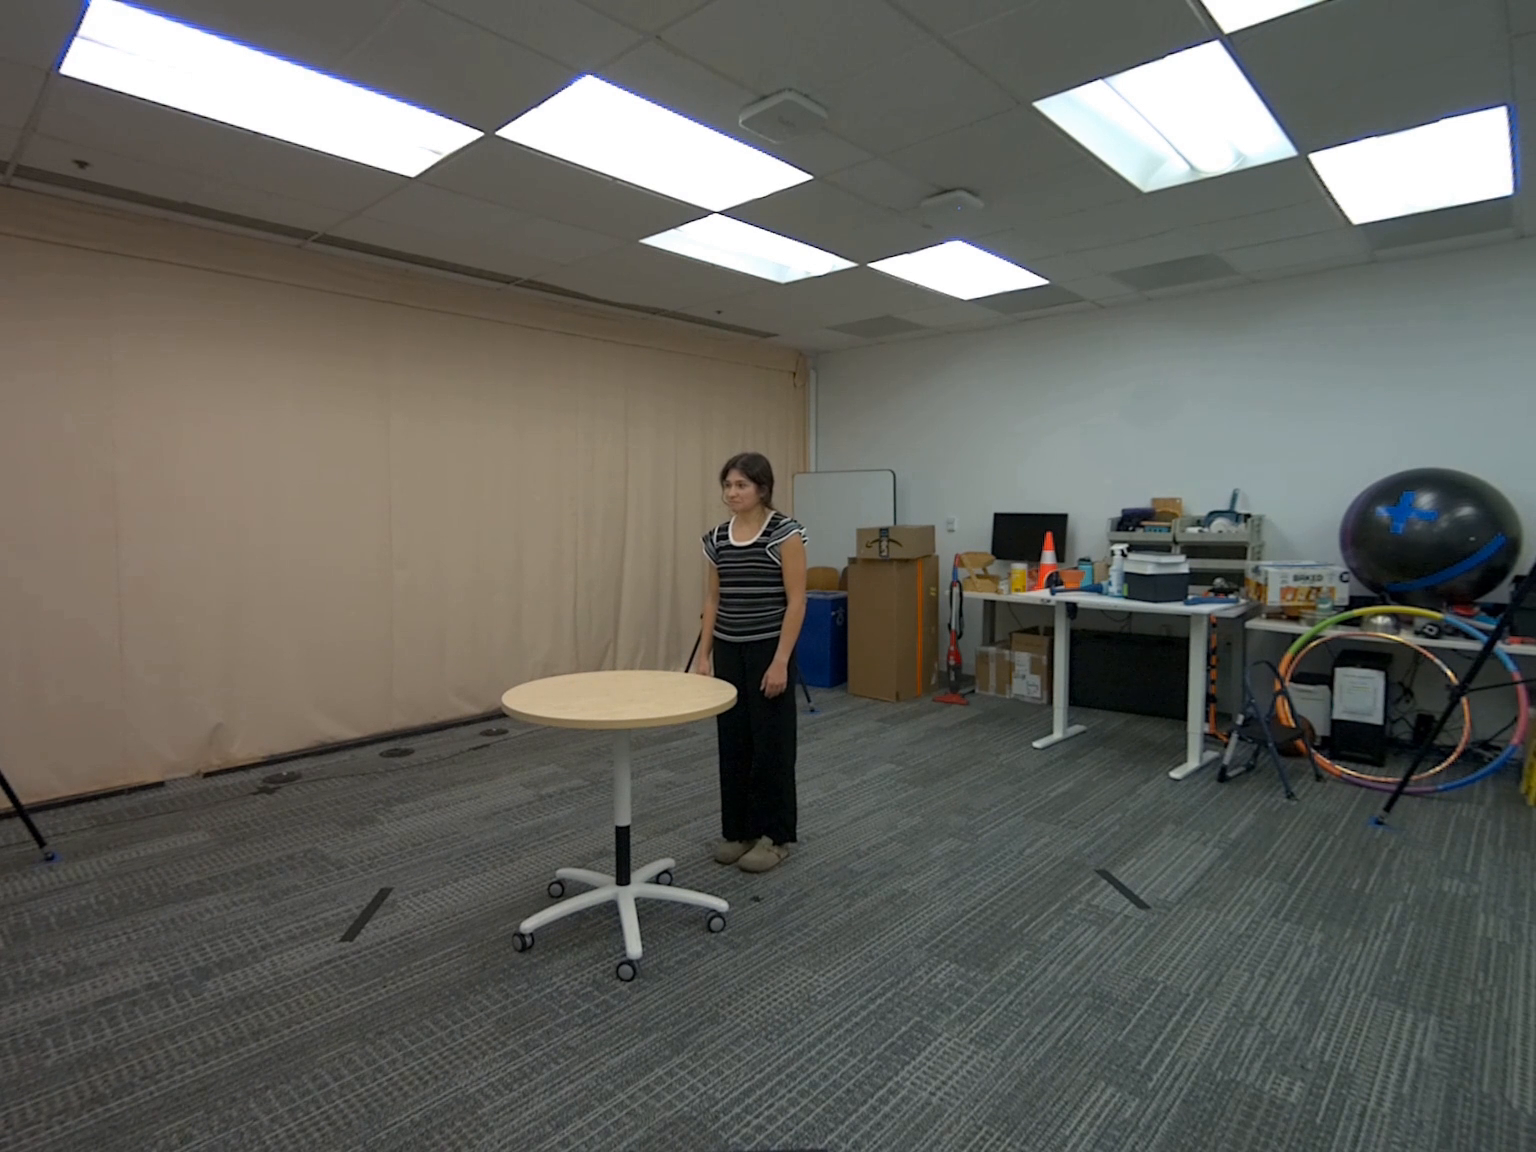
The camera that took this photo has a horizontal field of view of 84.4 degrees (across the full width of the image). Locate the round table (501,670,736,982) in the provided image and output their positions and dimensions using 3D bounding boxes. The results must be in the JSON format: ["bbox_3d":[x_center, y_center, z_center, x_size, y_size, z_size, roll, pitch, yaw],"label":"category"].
[{"bbox_3d":[-0.485,0.777,2.784,0.763,0.792,0.766,-1,3,-2],"label":"round table"}]
